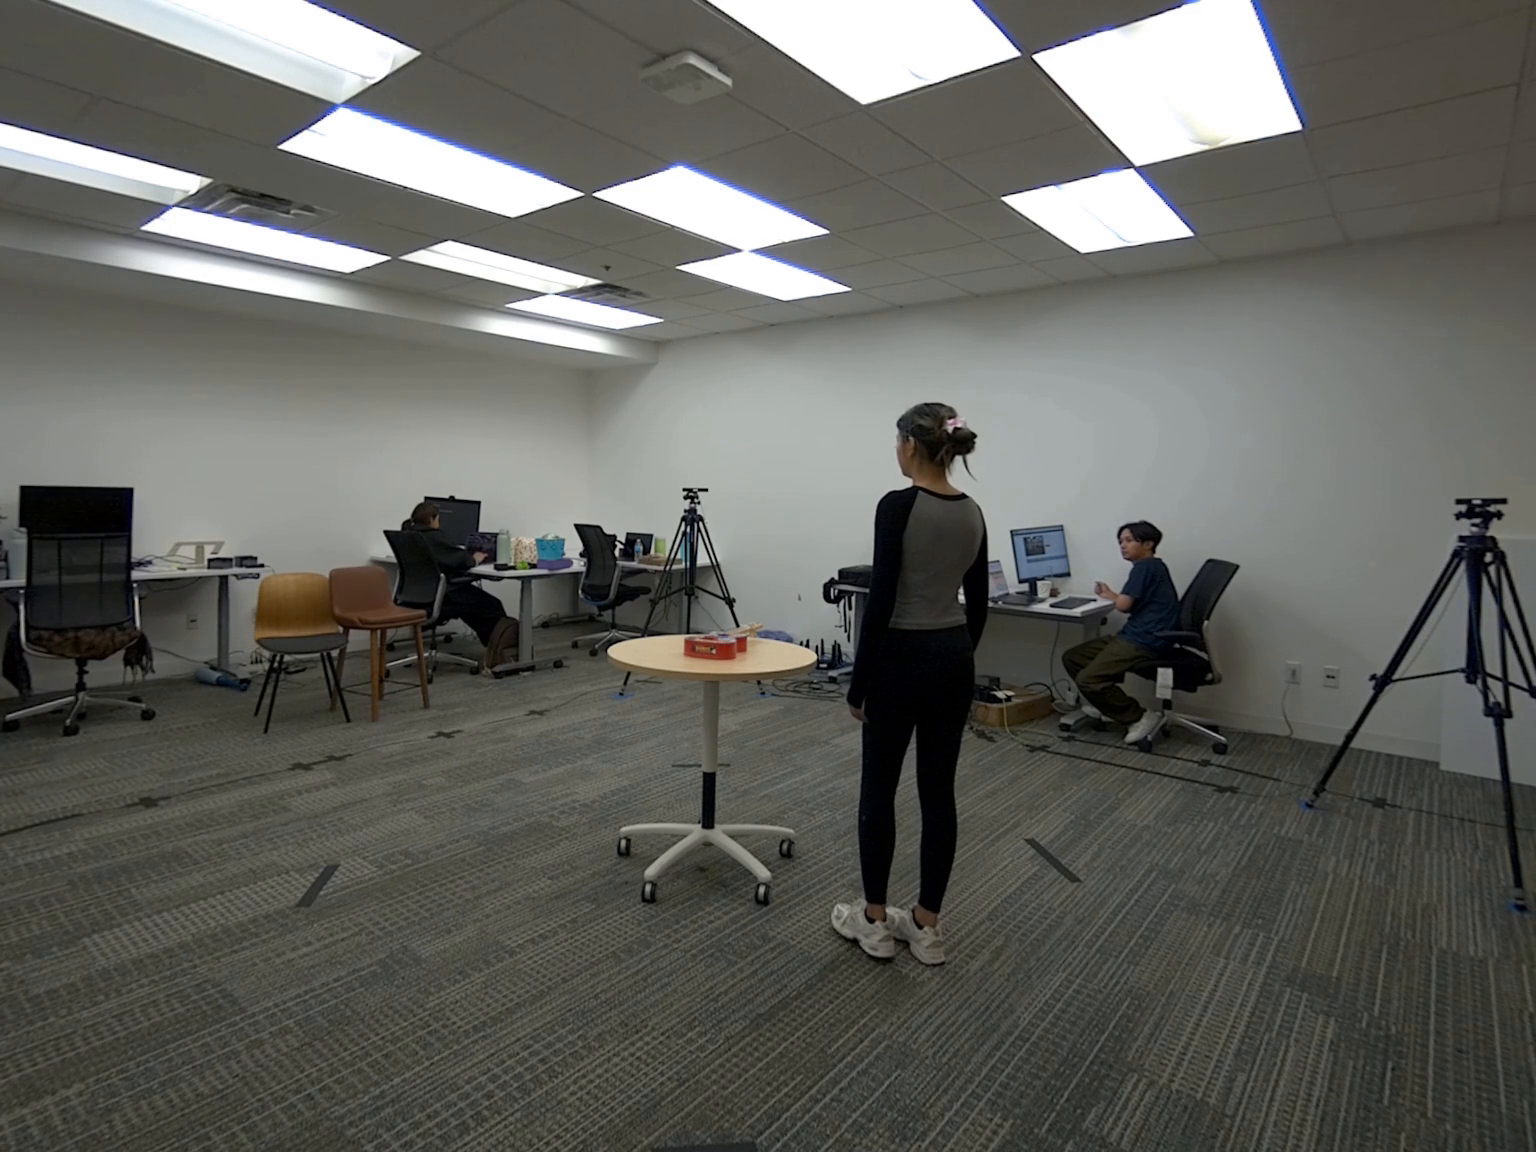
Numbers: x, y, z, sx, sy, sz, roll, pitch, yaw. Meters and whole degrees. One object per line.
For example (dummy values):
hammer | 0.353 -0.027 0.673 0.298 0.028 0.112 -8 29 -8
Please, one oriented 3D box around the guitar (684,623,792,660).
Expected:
guitar | -0.126 0.240 3.187 0.199 0.070 0.485 5 6 30
